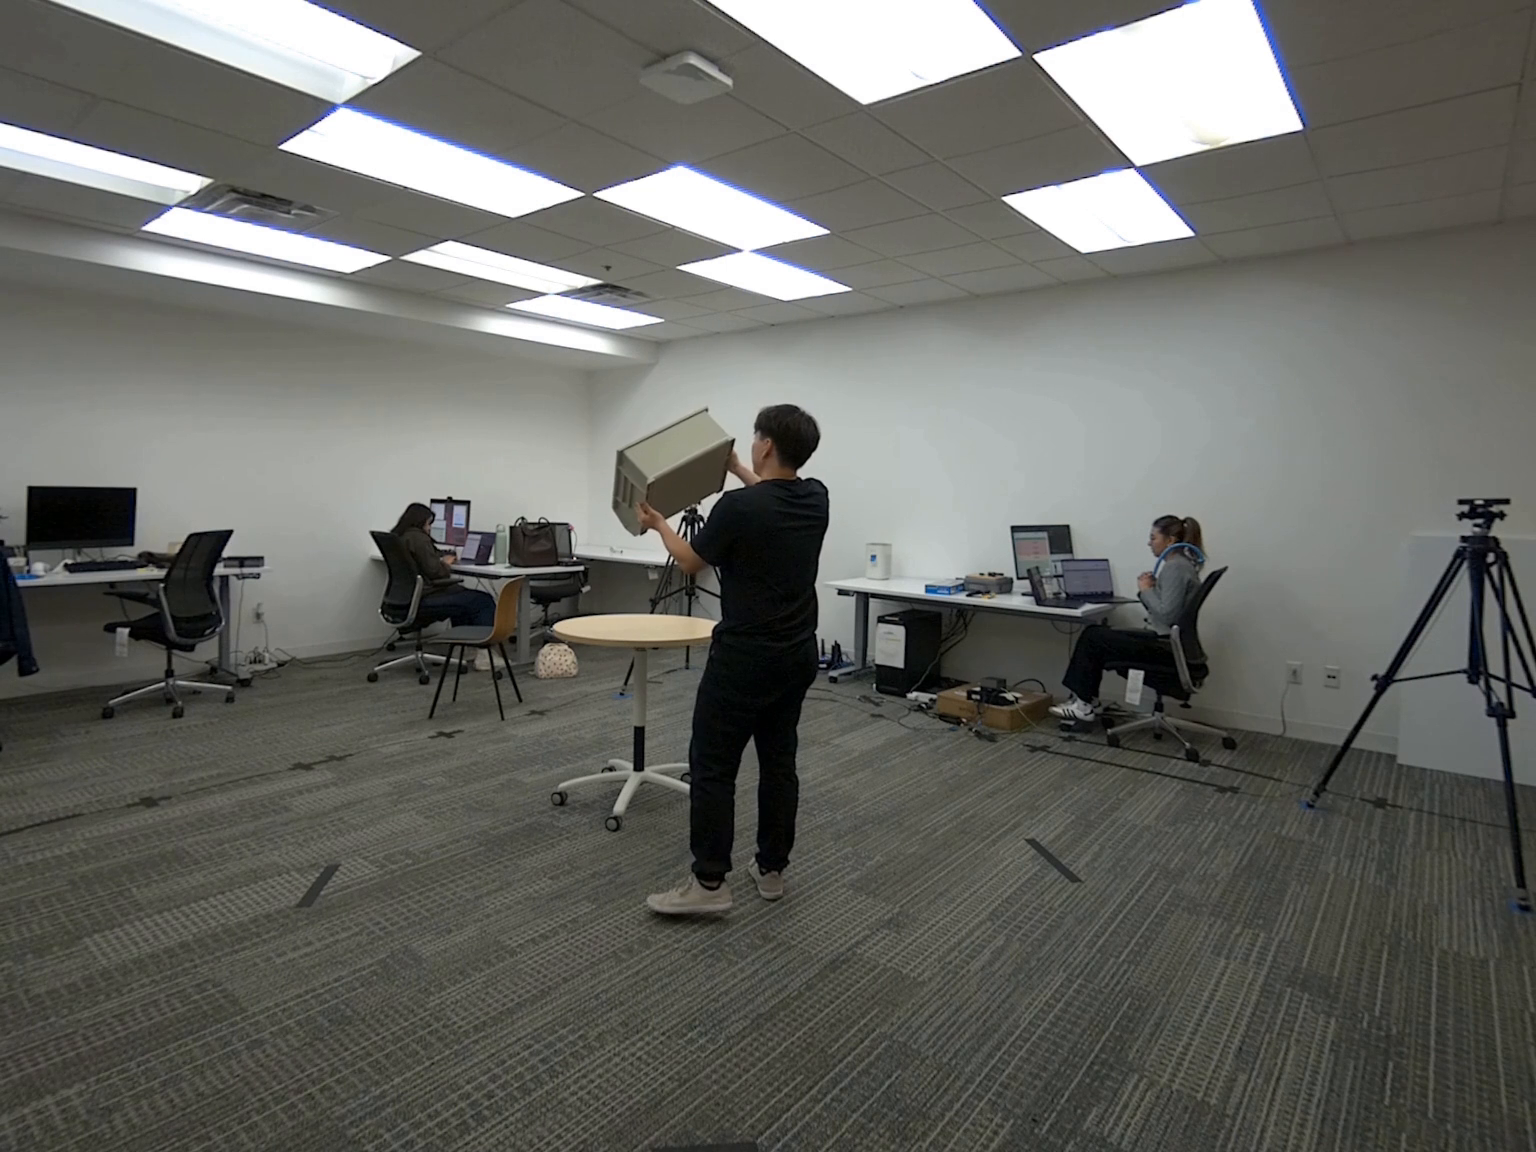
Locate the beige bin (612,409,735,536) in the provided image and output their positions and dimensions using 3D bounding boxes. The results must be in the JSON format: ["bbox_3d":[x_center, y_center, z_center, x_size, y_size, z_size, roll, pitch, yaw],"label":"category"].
[{"bbox_3d":[-0.376,-0.381,3.227,0.418,0.194,0.371,-32,-22,-29],"label":"beige bin"}]
